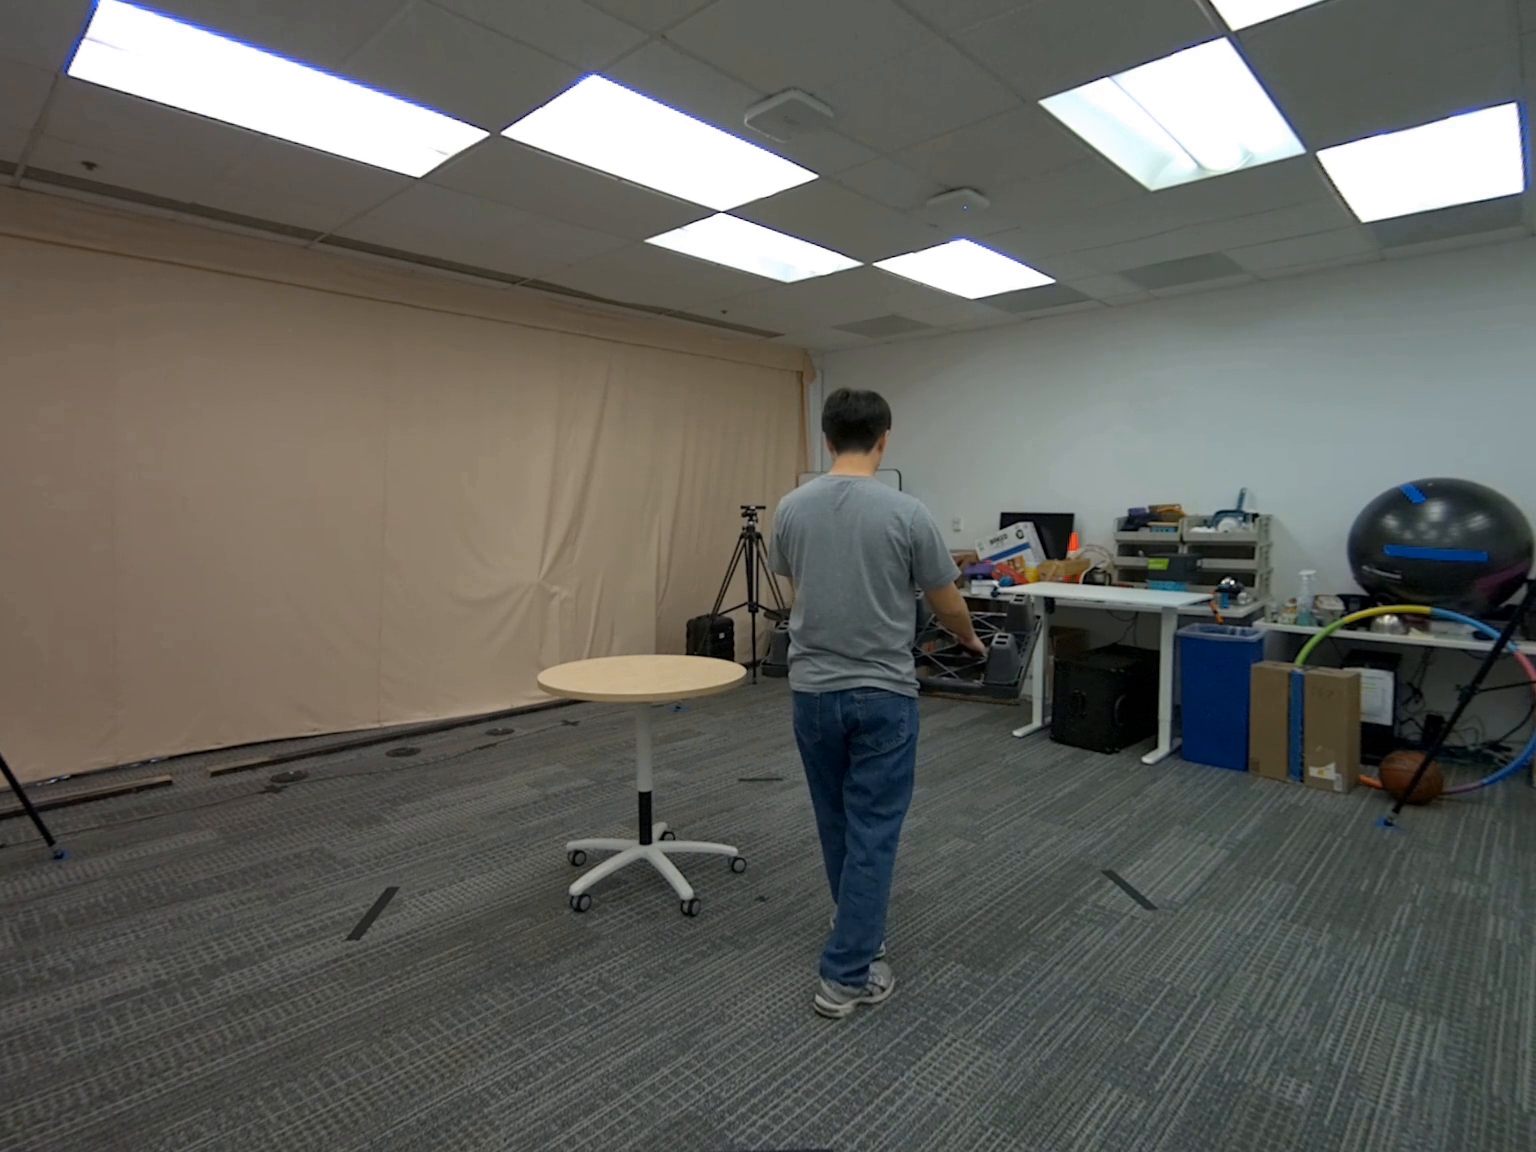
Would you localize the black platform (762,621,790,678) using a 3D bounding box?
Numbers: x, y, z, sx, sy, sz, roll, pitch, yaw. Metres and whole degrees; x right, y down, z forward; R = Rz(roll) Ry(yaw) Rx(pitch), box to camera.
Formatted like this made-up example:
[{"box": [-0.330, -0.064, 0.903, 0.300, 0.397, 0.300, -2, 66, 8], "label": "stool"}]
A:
[{"box": [0.447, 0.181, 2.775, 0.827, 0.142, 0.596, 2, 18, 26], "label": "black platform"}]
